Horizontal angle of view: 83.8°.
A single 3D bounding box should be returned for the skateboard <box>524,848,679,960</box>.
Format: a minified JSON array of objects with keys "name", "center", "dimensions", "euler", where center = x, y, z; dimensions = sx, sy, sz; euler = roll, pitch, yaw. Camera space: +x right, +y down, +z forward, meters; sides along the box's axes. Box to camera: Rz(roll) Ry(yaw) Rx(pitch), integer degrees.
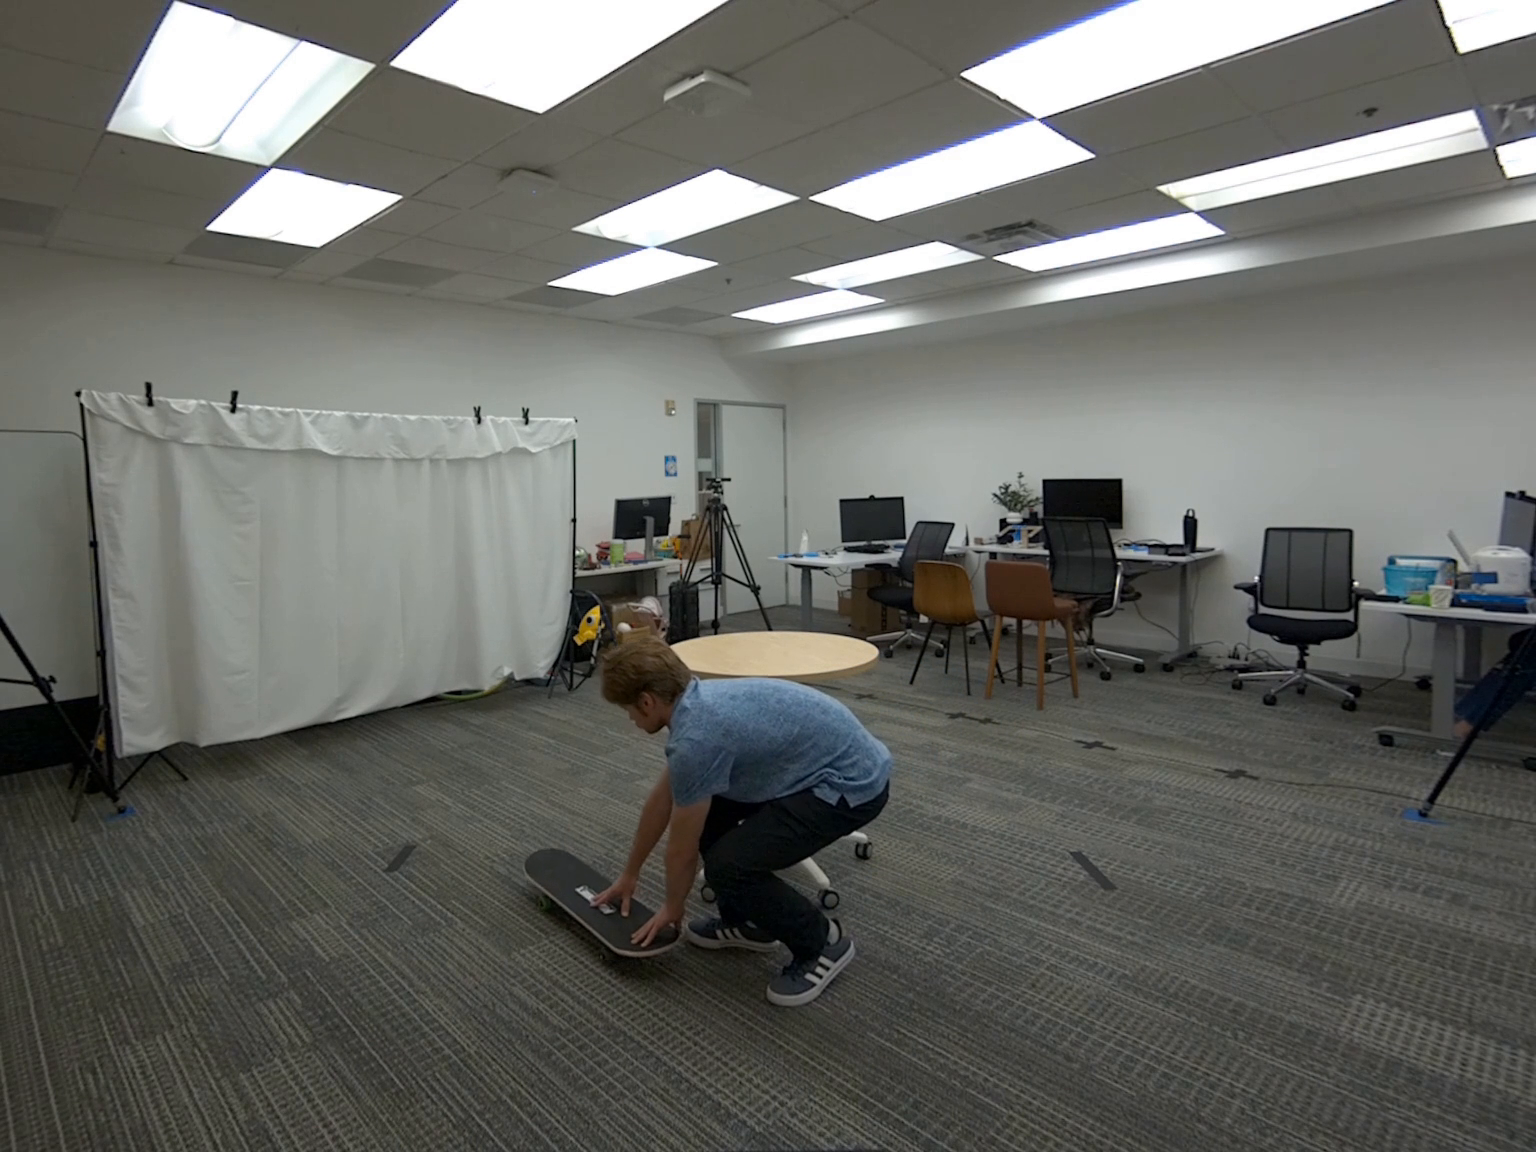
[{"name":"skateboard","center":[-0.540,1.048,2.680],"dimensions":[0.188,0.110,0.810],"euler":[-6,9,-39]}]
